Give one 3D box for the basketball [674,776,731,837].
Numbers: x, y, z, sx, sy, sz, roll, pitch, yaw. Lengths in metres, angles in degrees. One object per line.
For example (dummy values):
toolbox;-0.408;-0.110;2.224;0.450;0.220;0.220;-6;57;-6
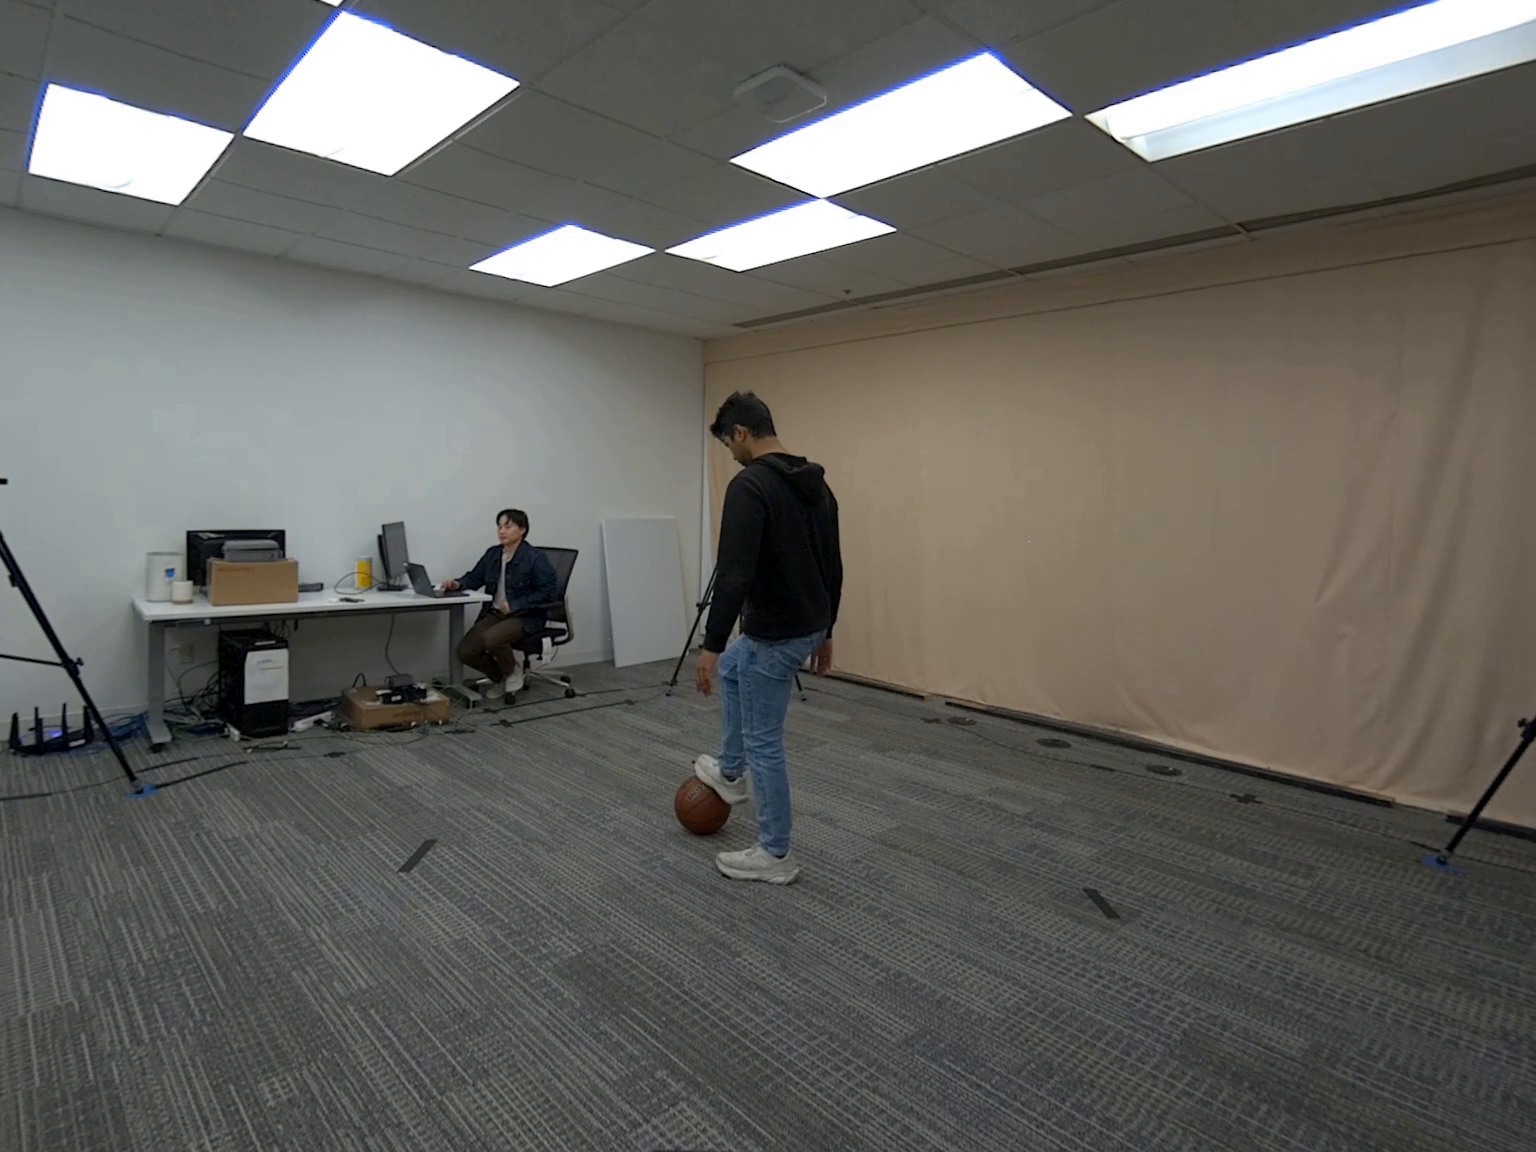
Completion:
basketball;-0.271;0.949;3.501;0.236;0.235;0.237;1;4;-1
